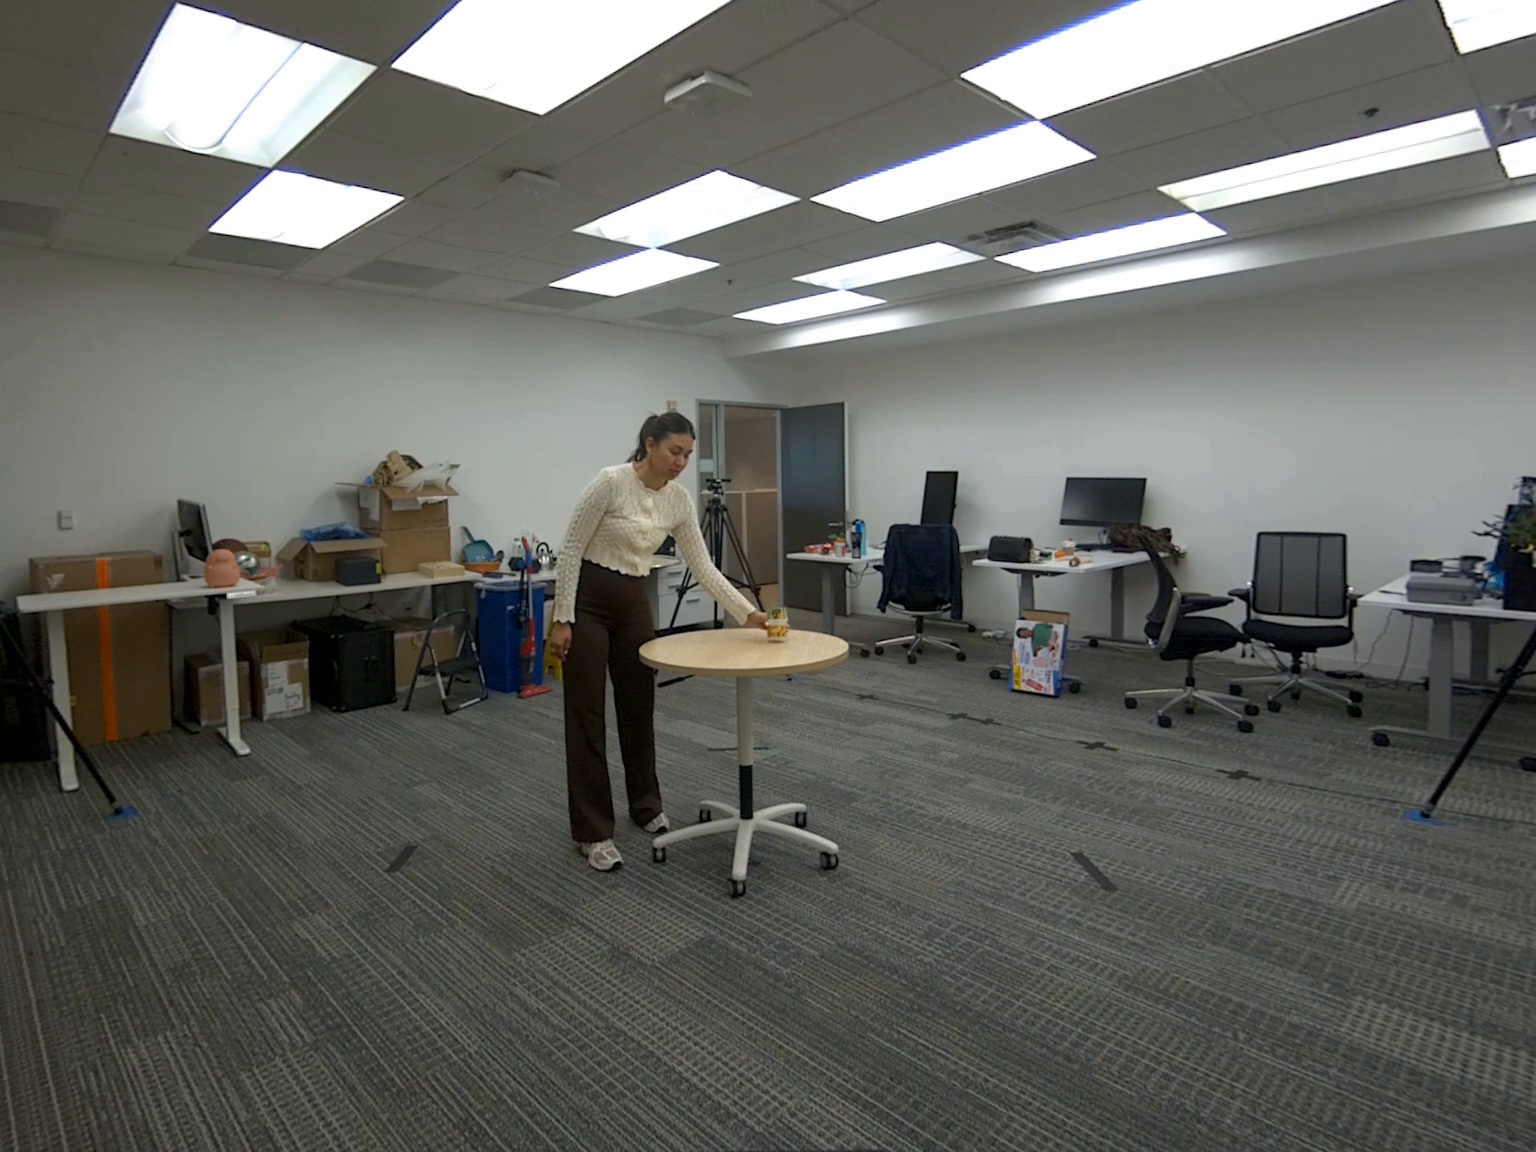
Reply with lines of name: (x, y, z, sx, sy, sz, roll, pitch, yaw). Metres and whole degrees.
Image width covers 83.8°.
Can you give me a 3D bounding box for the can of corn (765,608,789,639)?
can of corn: (0.025, 0.172, 3.196, 0.074, 0.111, 0.074, 0, -2, -2)
